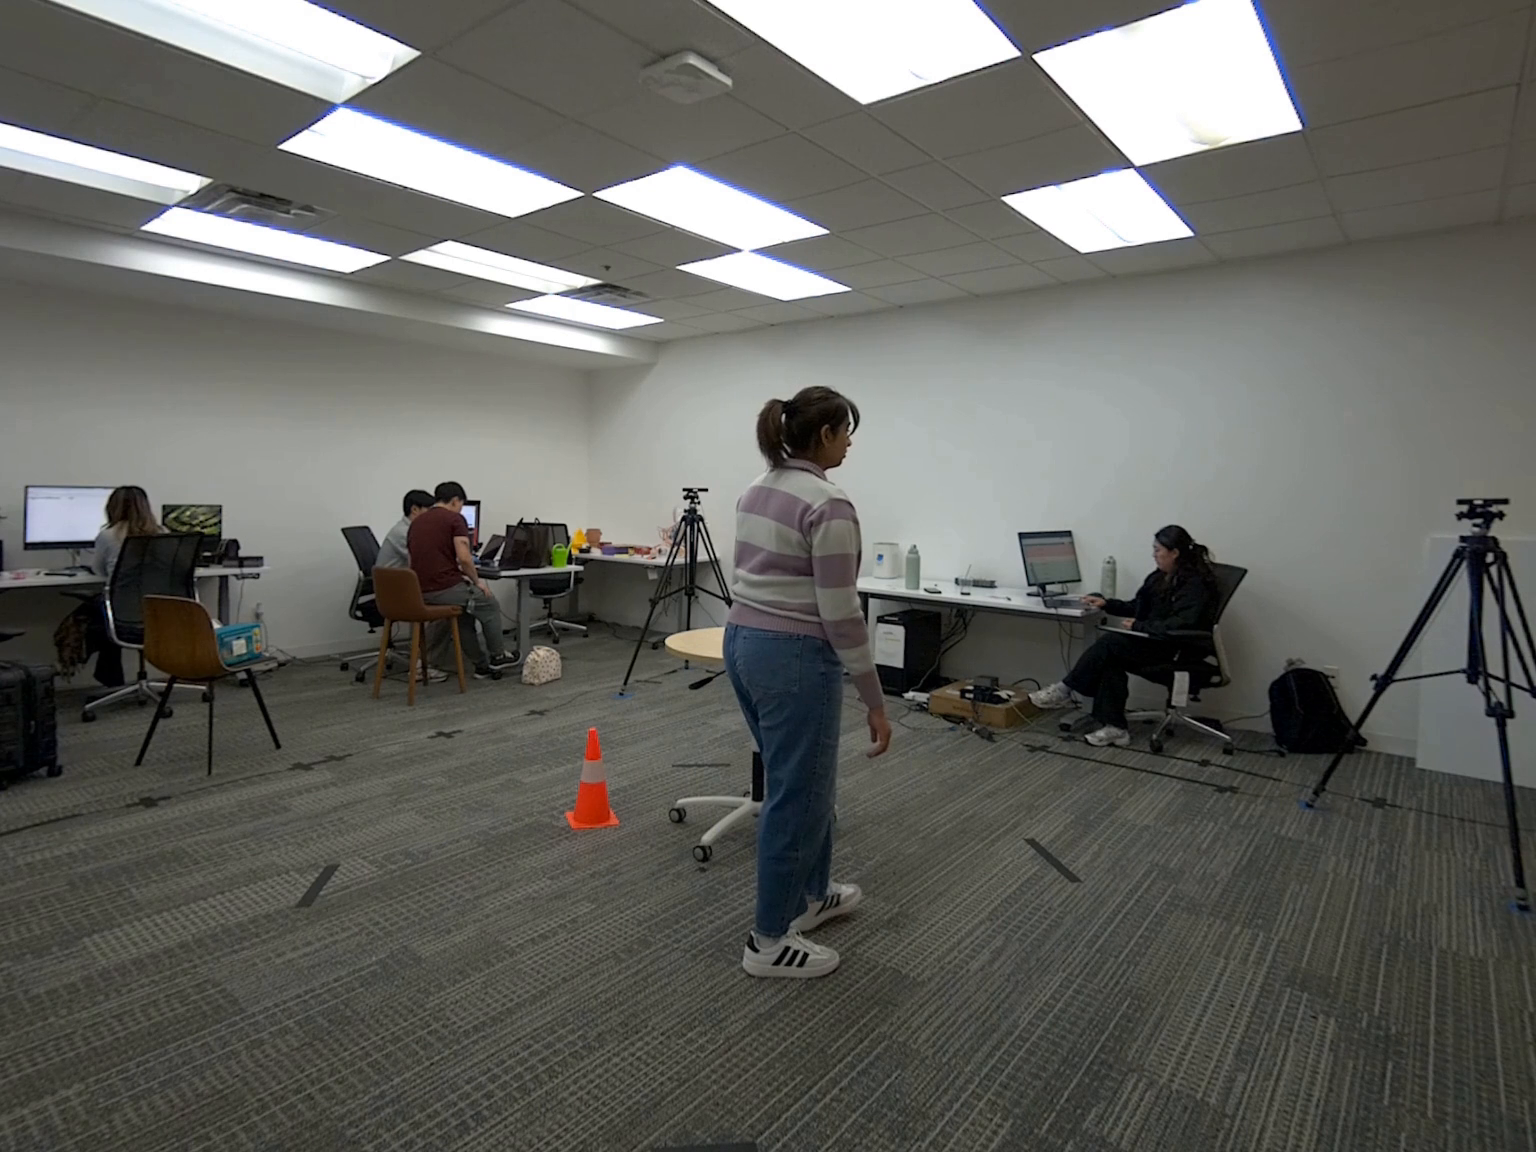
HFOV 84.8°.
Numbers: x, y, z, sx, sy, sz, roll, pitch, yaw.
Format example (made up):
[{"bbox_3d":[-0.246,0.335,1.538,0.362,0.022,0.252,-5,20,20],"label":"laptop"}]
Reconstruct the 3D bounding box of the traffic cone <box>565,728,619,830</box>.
[{"bbox_3d":[-0.750,0.834,3.564,0.199,0.383,0.210,0,3,-21],"label":"traffic cone"}]
